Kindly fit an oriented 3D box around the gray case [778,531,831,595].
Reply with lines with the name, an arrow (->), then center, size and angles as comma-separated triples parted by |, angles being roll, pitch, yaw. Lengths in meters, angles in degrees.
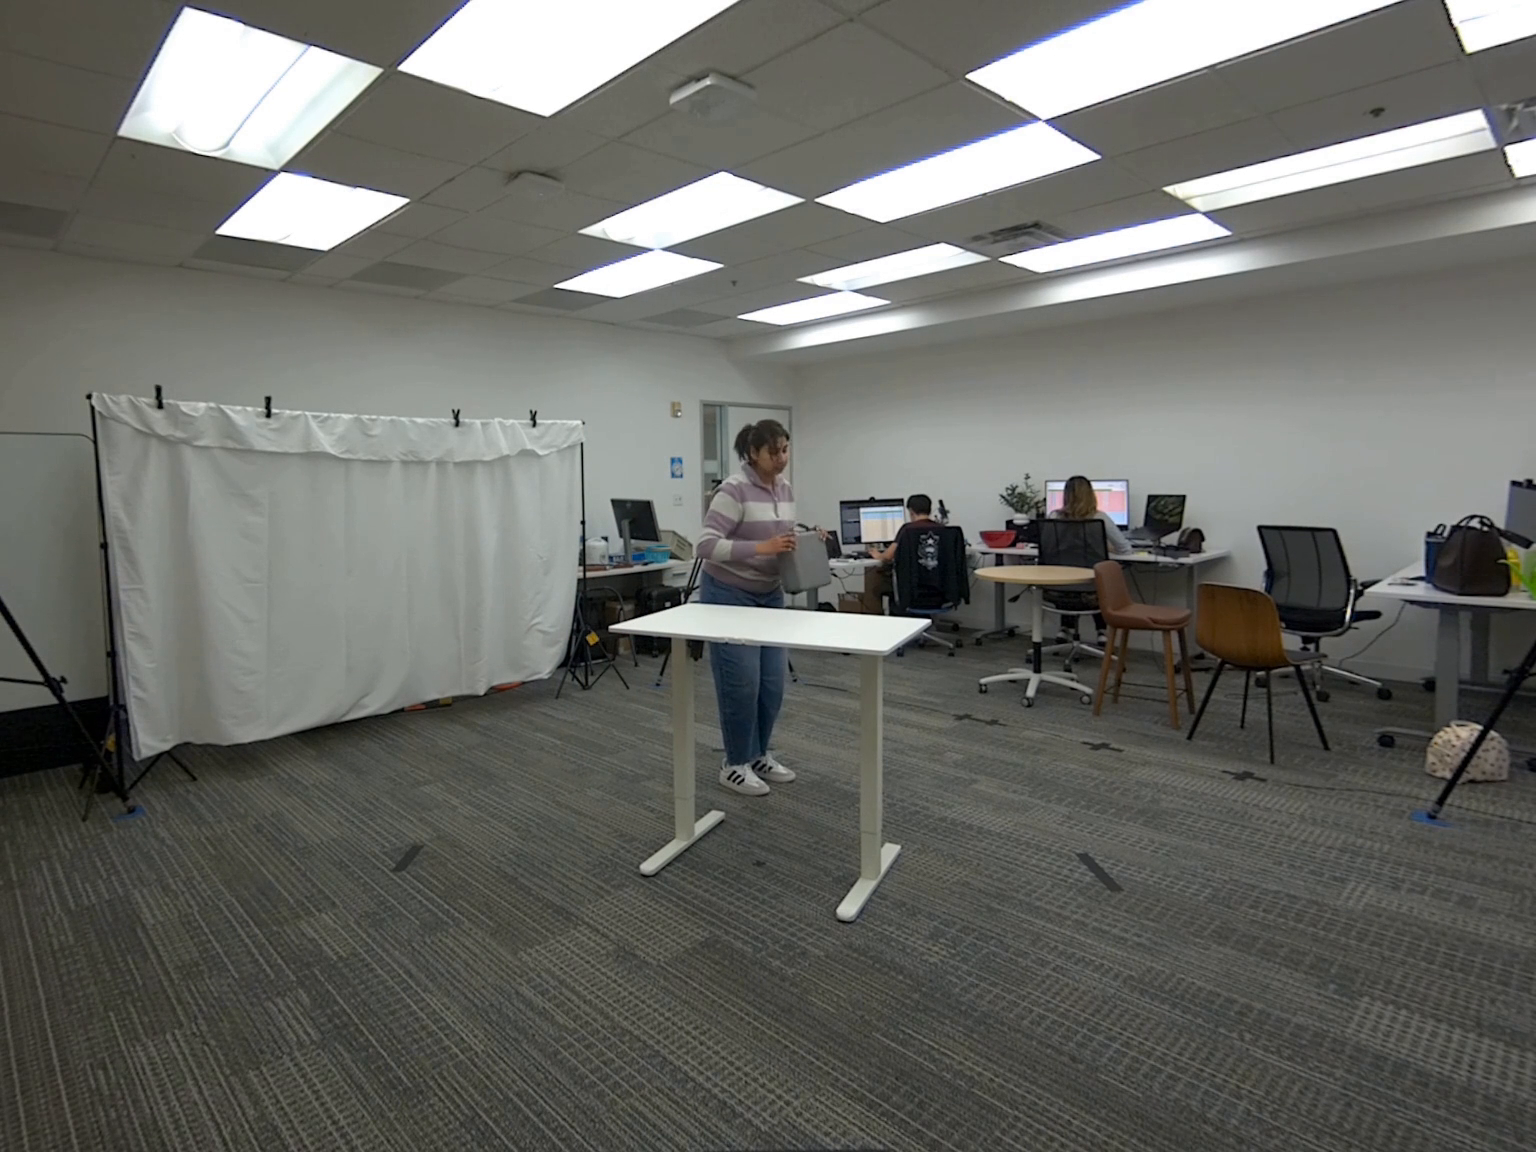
gray case -> 0.150, -0.055, 3.727 | 0.107, 0.260, 0.251 | -8, 1, 41
